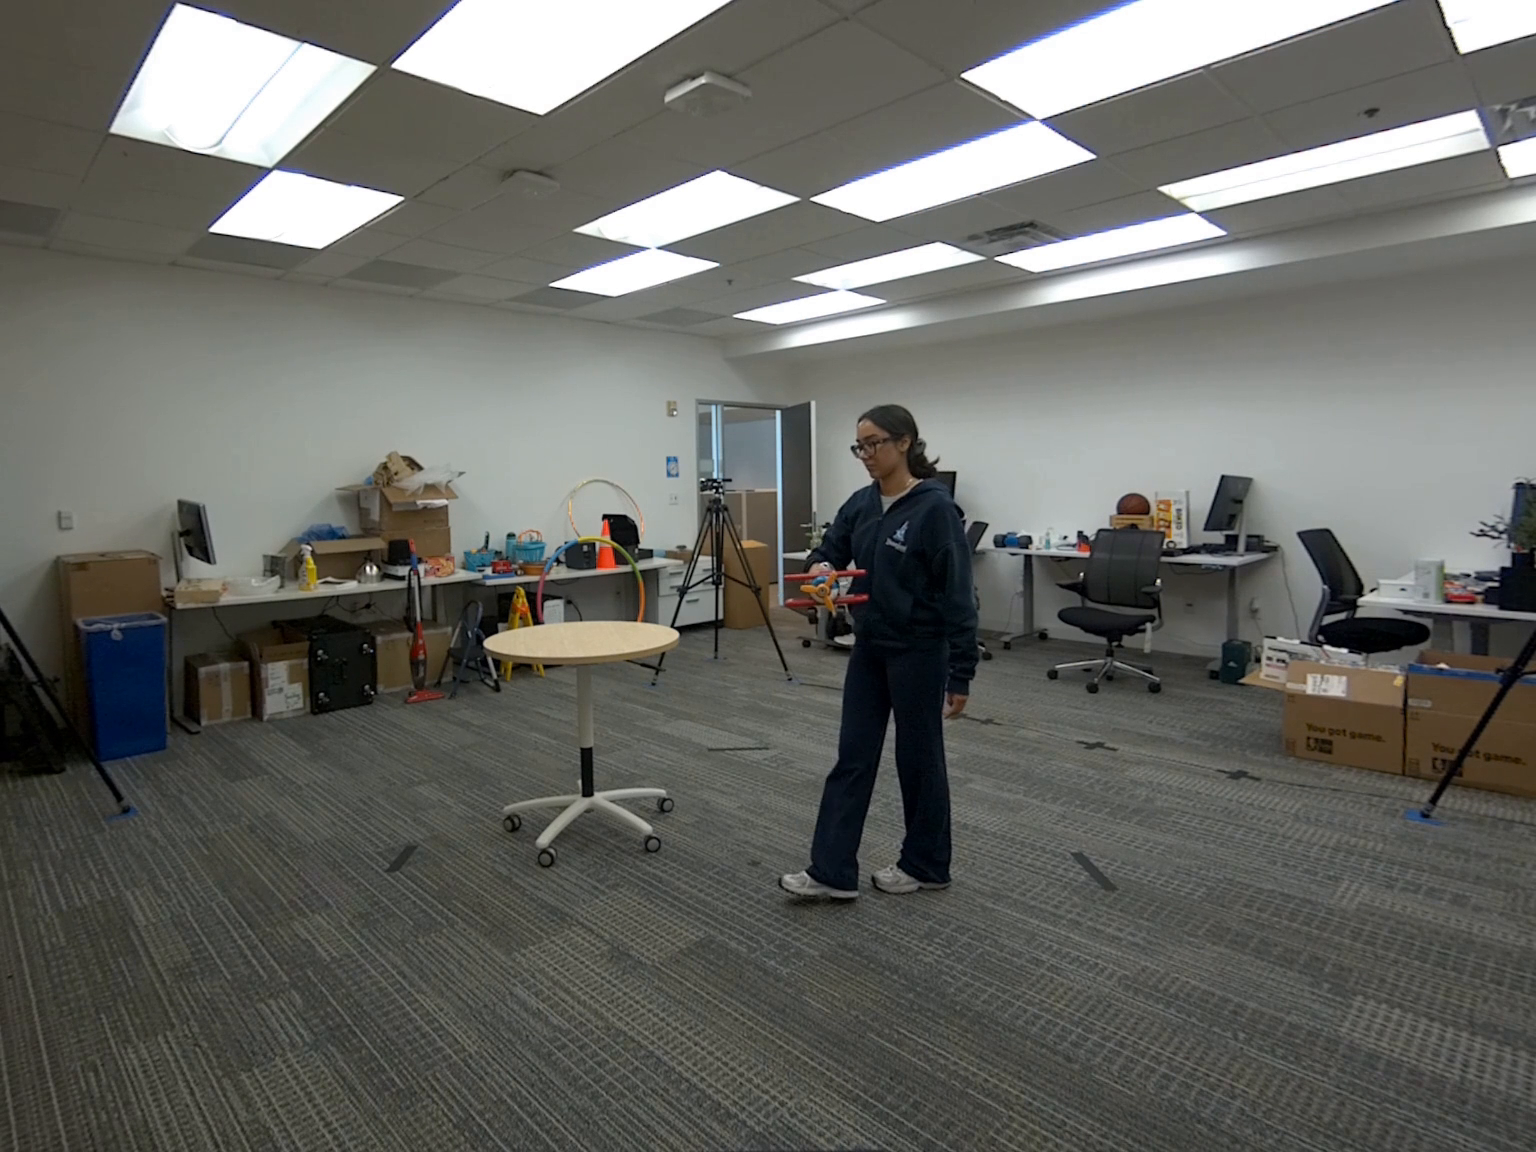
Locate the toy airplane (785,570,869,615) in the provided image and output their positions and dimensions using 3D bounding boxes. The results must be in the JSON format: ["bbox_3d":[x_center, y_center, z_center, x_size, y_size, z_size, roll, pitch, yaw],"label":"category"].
[{"bbox_3d":[0.162,0.043,2.658,0.248,0.154,0.267,-13,19,-15],"label":"toy airplane"}]
